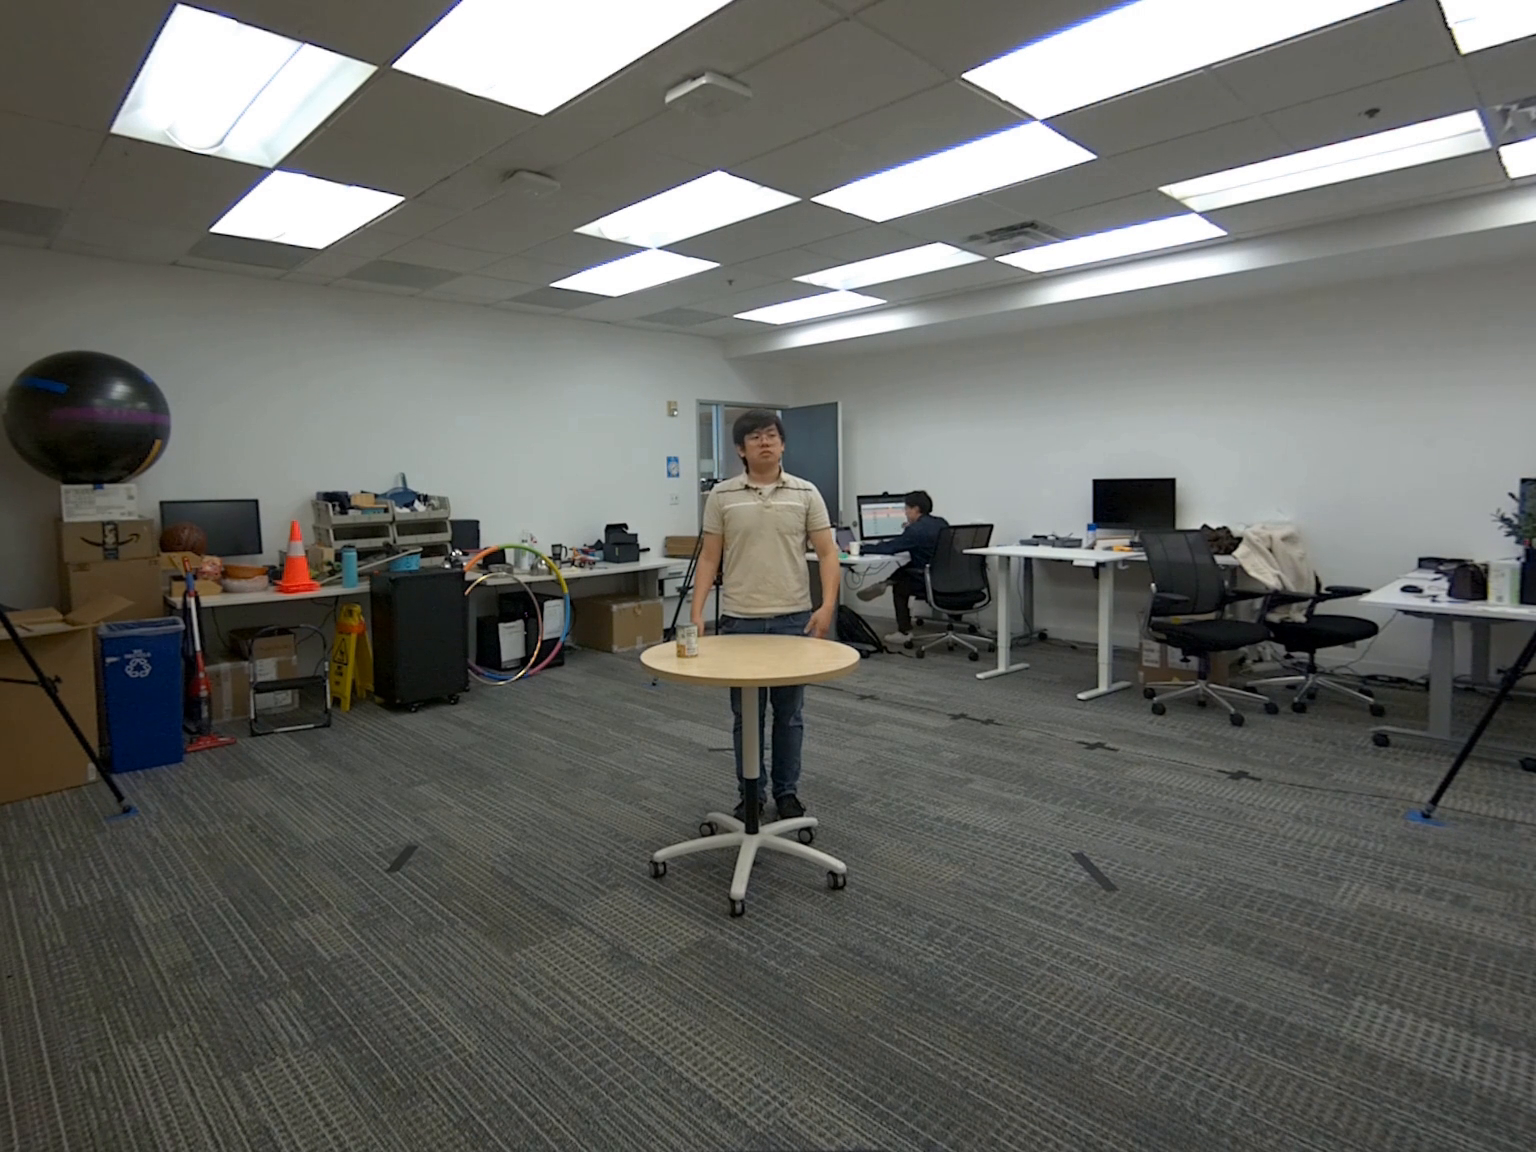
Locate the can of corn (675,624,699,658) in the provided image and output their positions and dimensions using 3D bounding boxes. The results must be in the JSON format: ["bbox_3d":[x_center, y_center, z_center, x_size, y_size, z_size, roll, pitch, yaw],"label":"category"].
[{"bbox_3d":[-0.284,0.226,2.985,0.074,0.111,0.074,-3,0,-2],"label":"can of corn"}]
